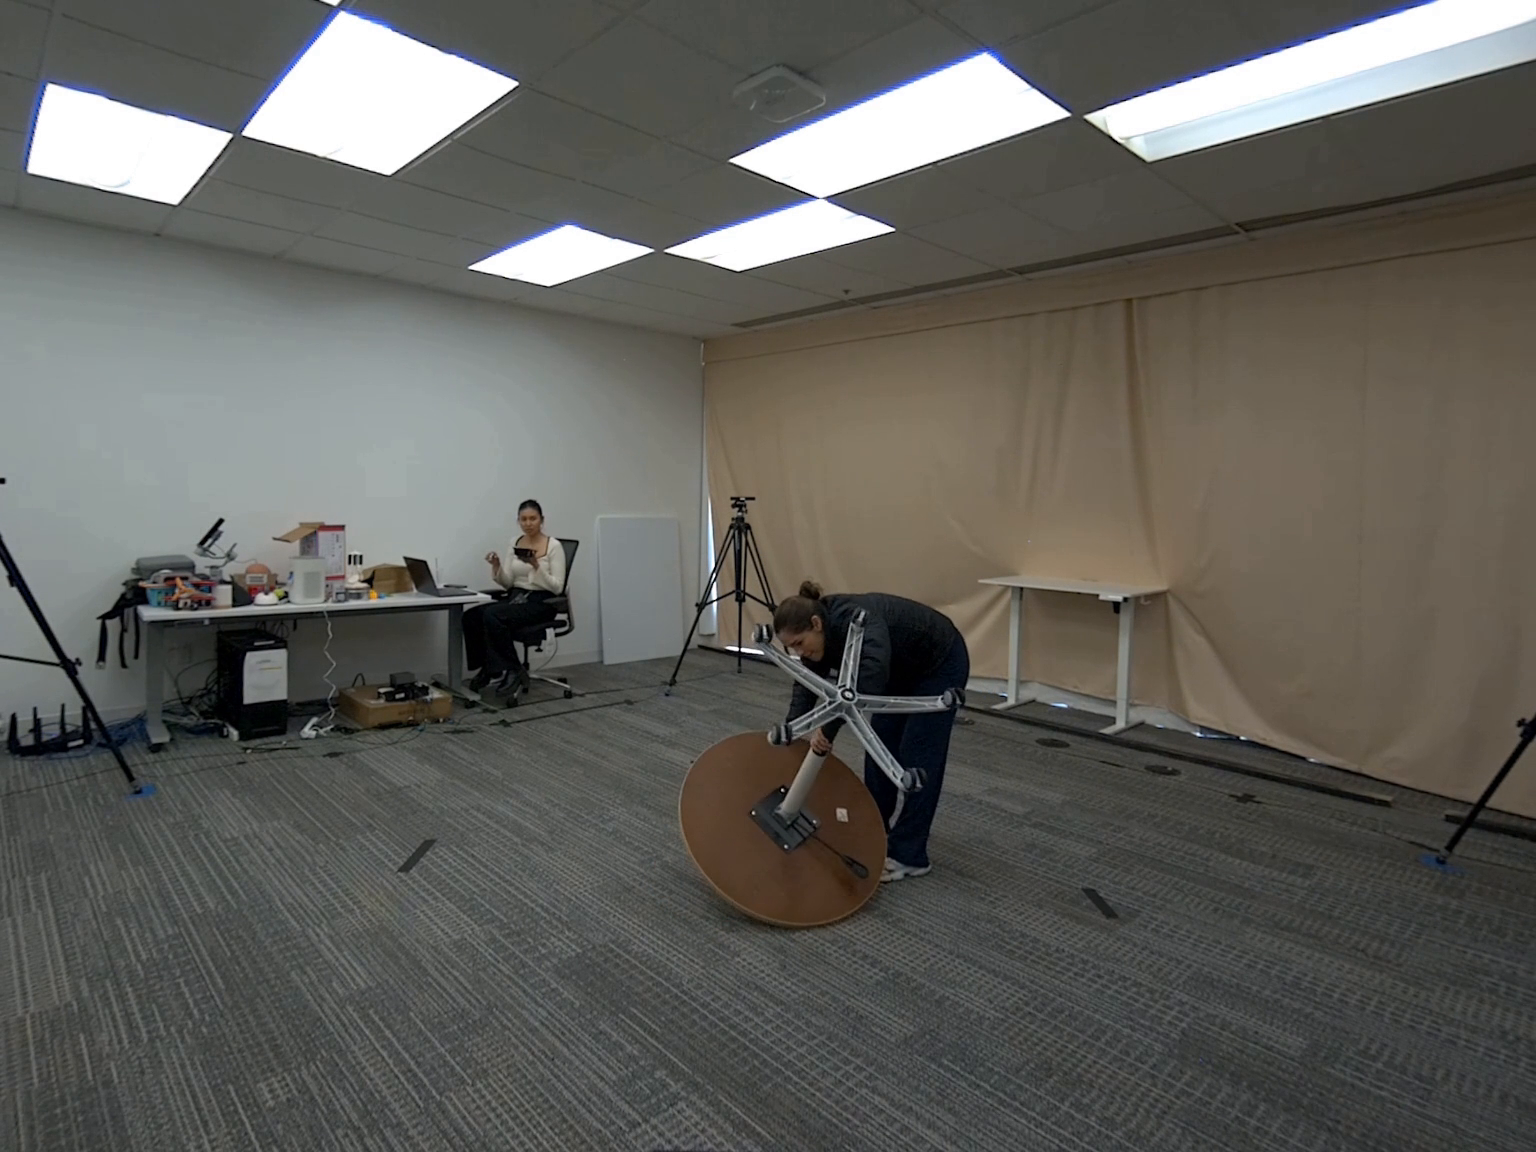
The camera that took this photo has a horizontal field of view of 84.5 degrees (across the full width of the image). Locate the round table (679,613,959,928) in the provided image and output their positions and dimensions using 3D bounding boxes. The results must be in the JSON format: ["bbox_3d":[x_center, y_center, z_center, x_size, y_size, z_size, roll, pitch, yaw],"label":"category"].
[{"bbox_3d":[0.158,0.606,2.766,0.778,0.776,0.802,11,39,-10],"label":"round table"}]
